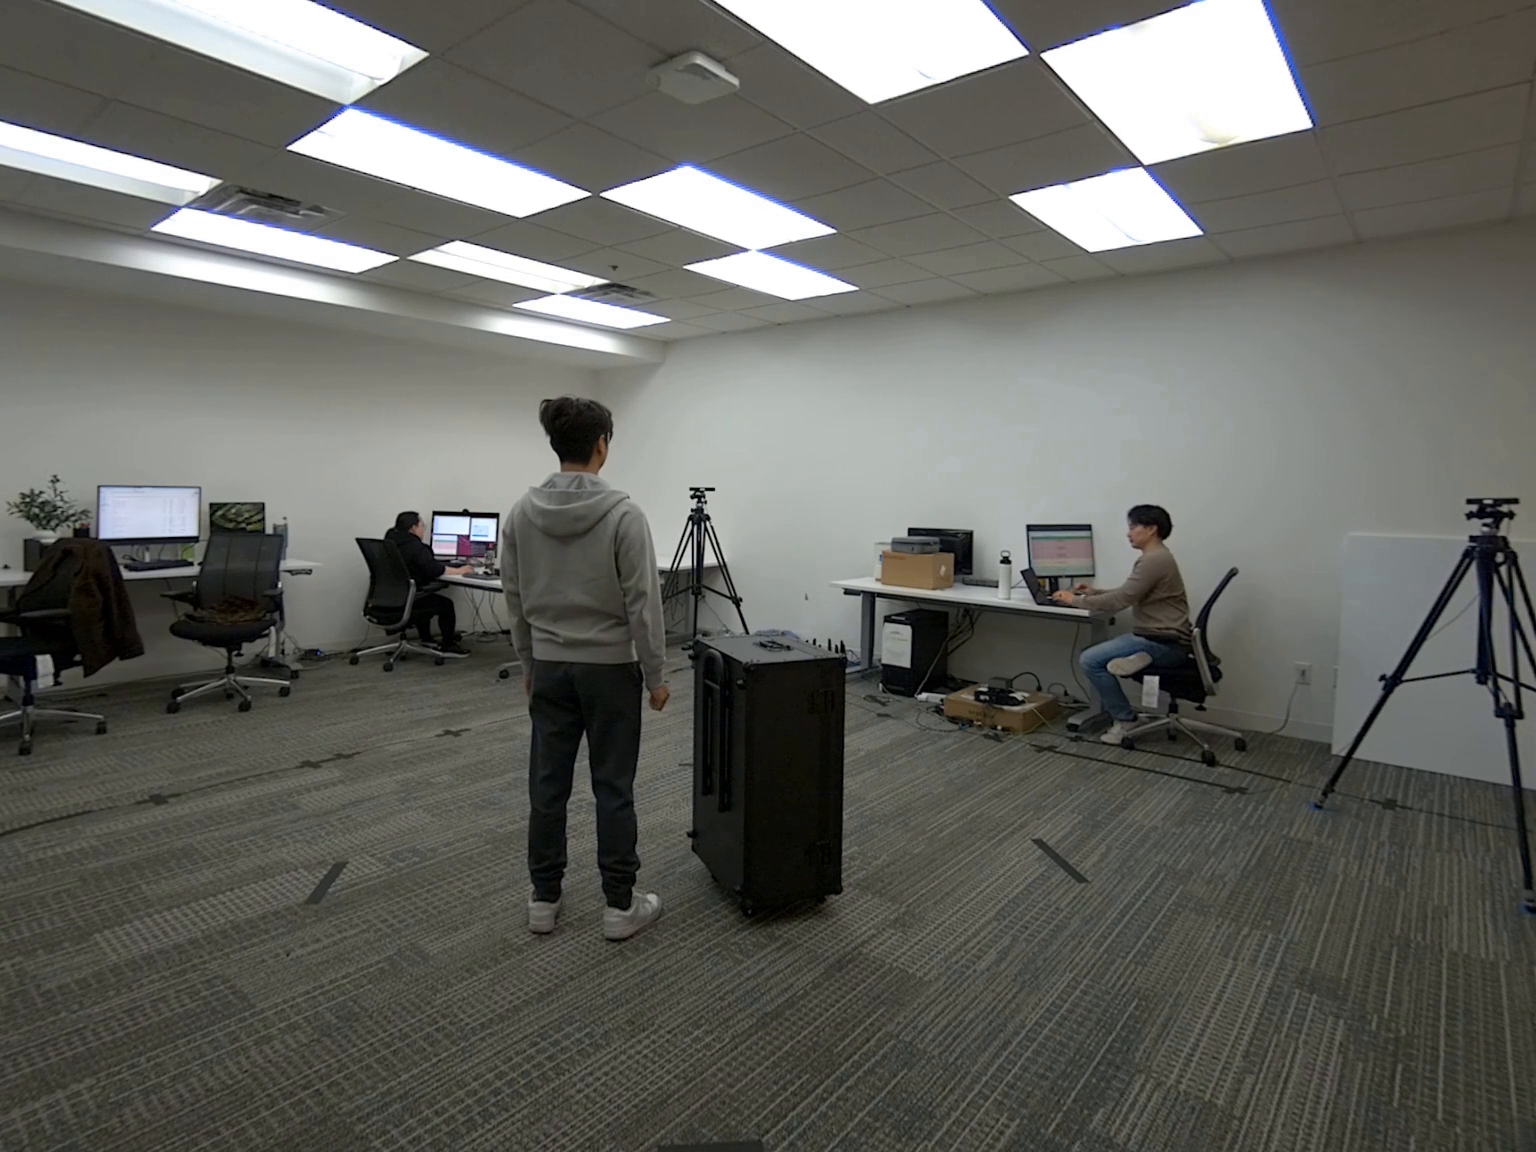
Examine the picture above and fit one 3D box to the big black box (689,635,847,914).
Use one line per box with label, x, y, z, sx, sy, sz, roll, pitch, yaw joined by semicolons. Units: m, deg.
big black box;-0.024;0.660;2.918;0.387;0.858;0.535;-2;5;-24
